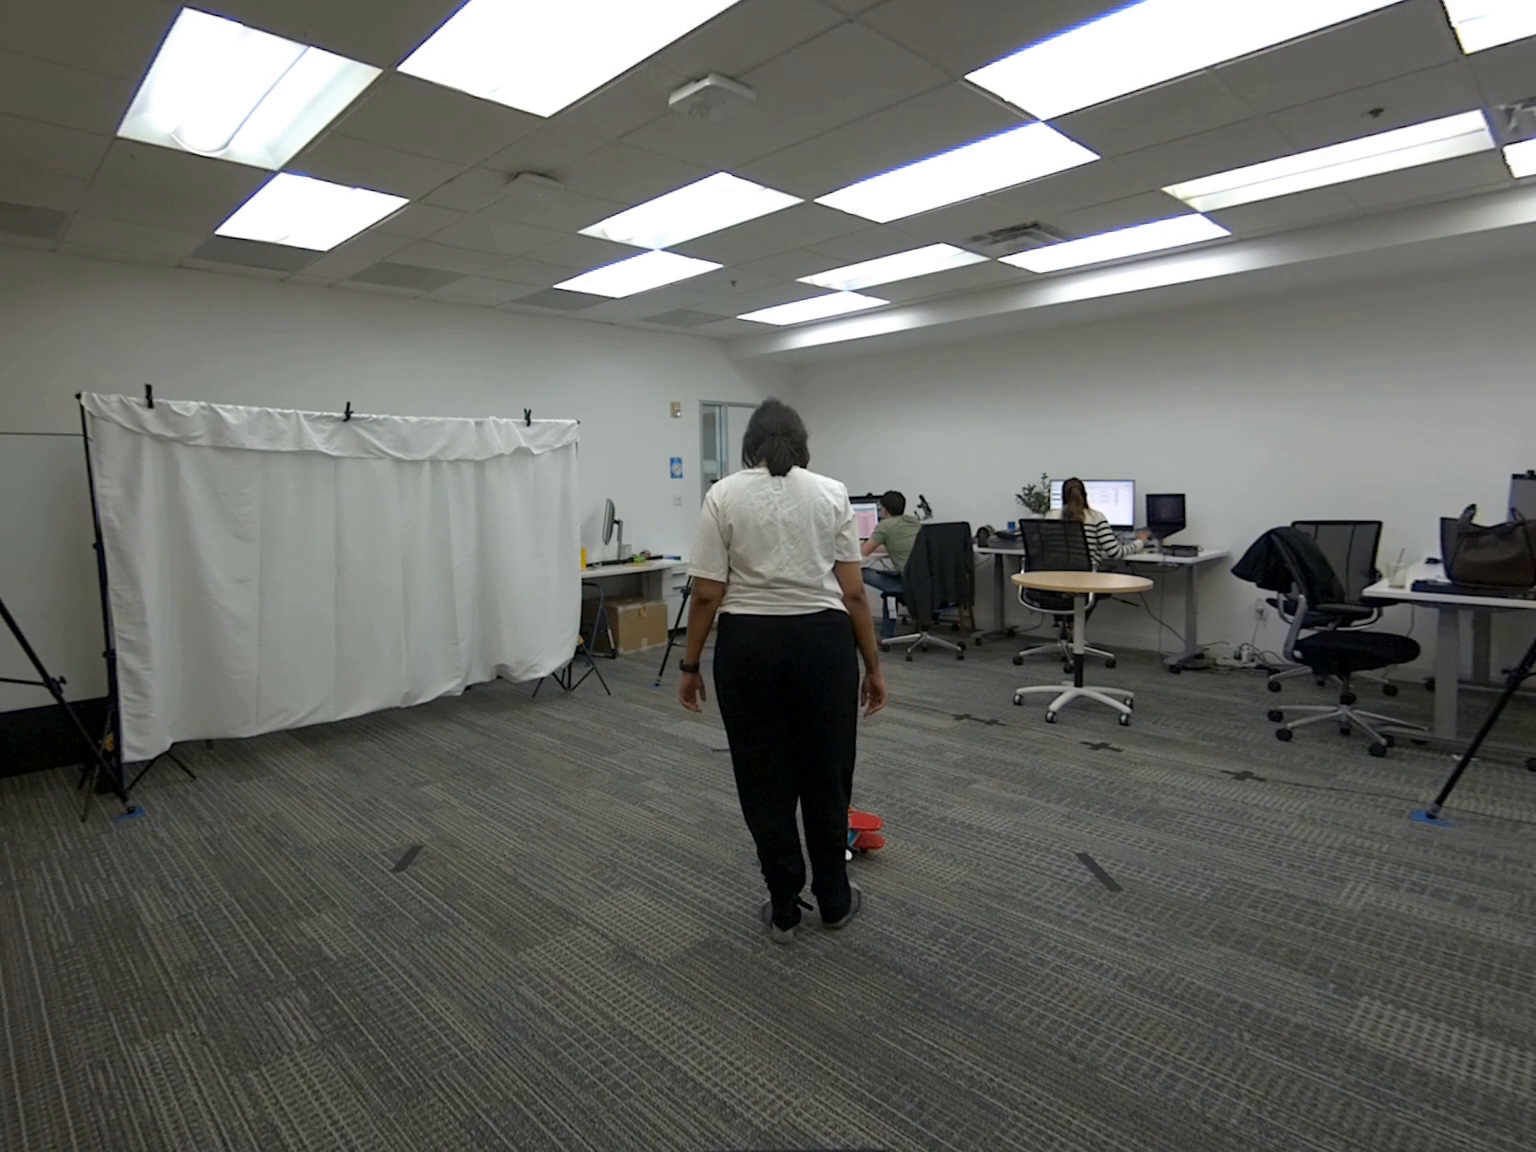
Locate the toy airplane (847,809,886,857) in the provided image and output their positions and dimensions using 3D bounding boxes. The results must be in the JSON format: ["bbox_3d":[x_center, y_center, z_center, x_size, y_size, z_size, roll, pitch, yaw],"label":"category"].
[{"bbox_3d":[0.306,0.961,3.129,0.251,0.156,0.260,-1,4,-2],"label":"toy airplane"}]
